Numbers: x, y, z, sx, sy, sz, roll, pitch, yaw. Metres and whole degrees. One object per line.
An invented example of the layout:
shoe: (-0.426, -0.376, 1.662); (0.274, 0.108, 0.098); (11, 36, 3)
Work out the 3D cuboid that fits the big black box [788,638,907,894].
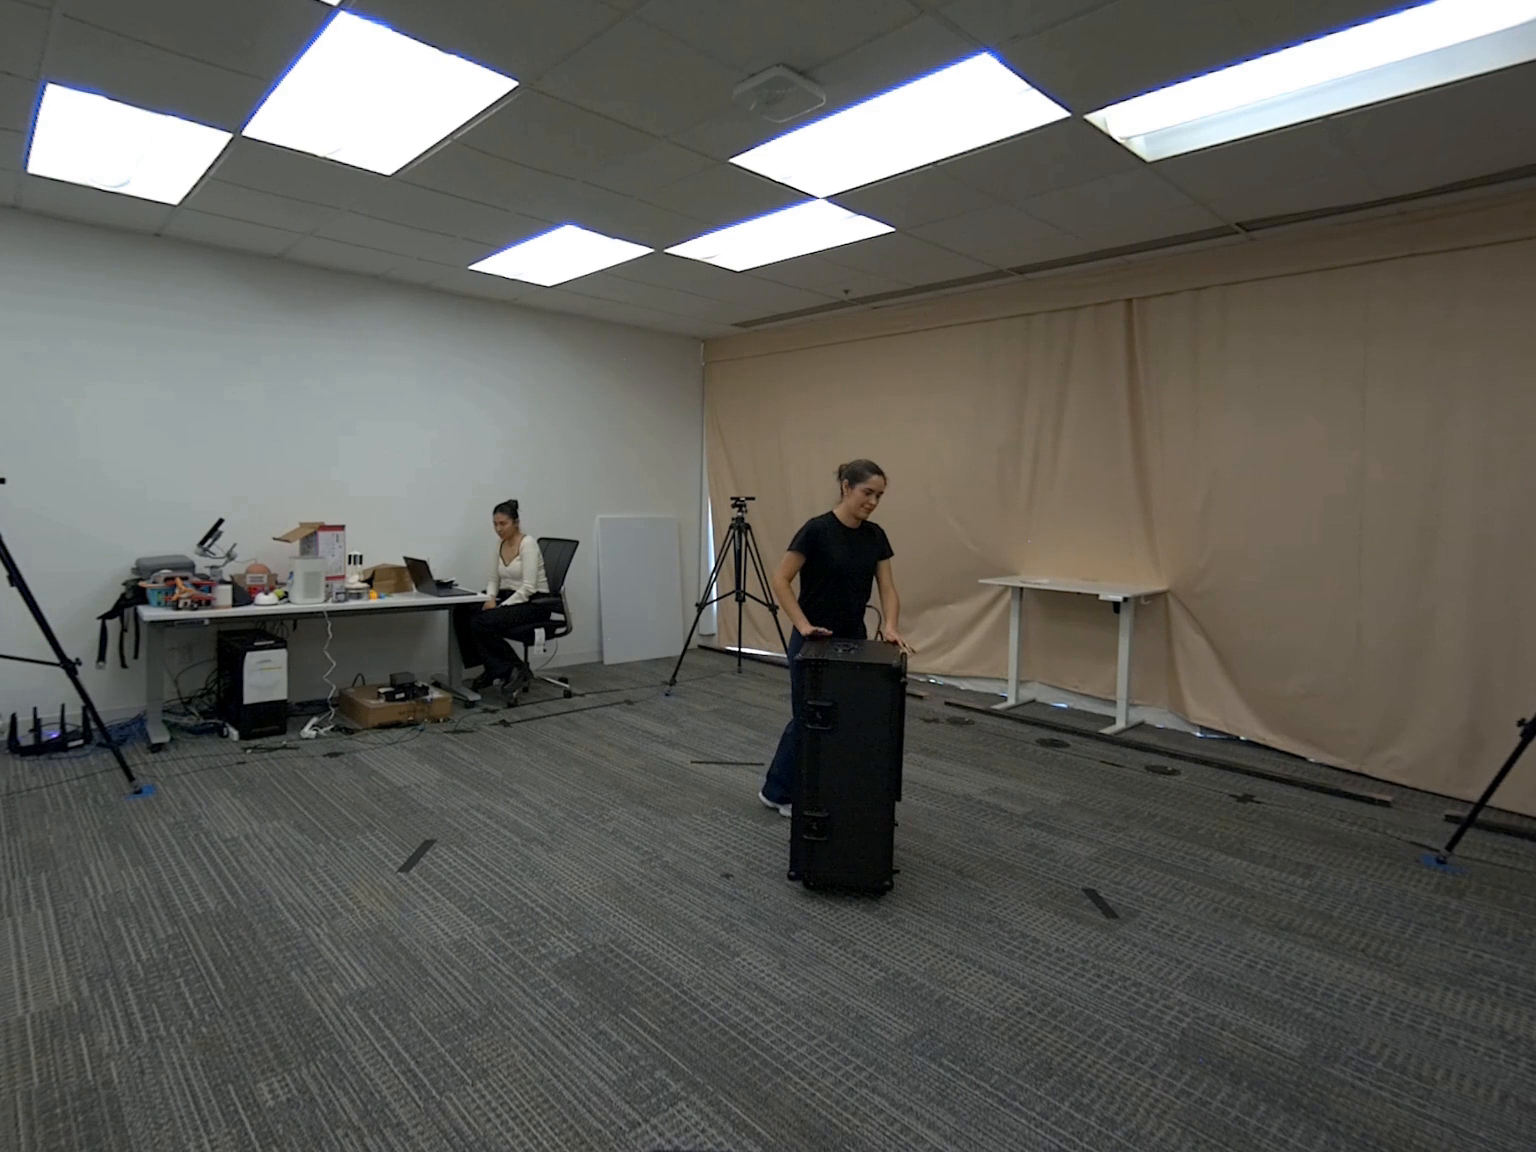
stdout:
big black box: (0.296, 0.697, 3.096); (0.400, 0.859, 0.518); (2, 3, 9)
